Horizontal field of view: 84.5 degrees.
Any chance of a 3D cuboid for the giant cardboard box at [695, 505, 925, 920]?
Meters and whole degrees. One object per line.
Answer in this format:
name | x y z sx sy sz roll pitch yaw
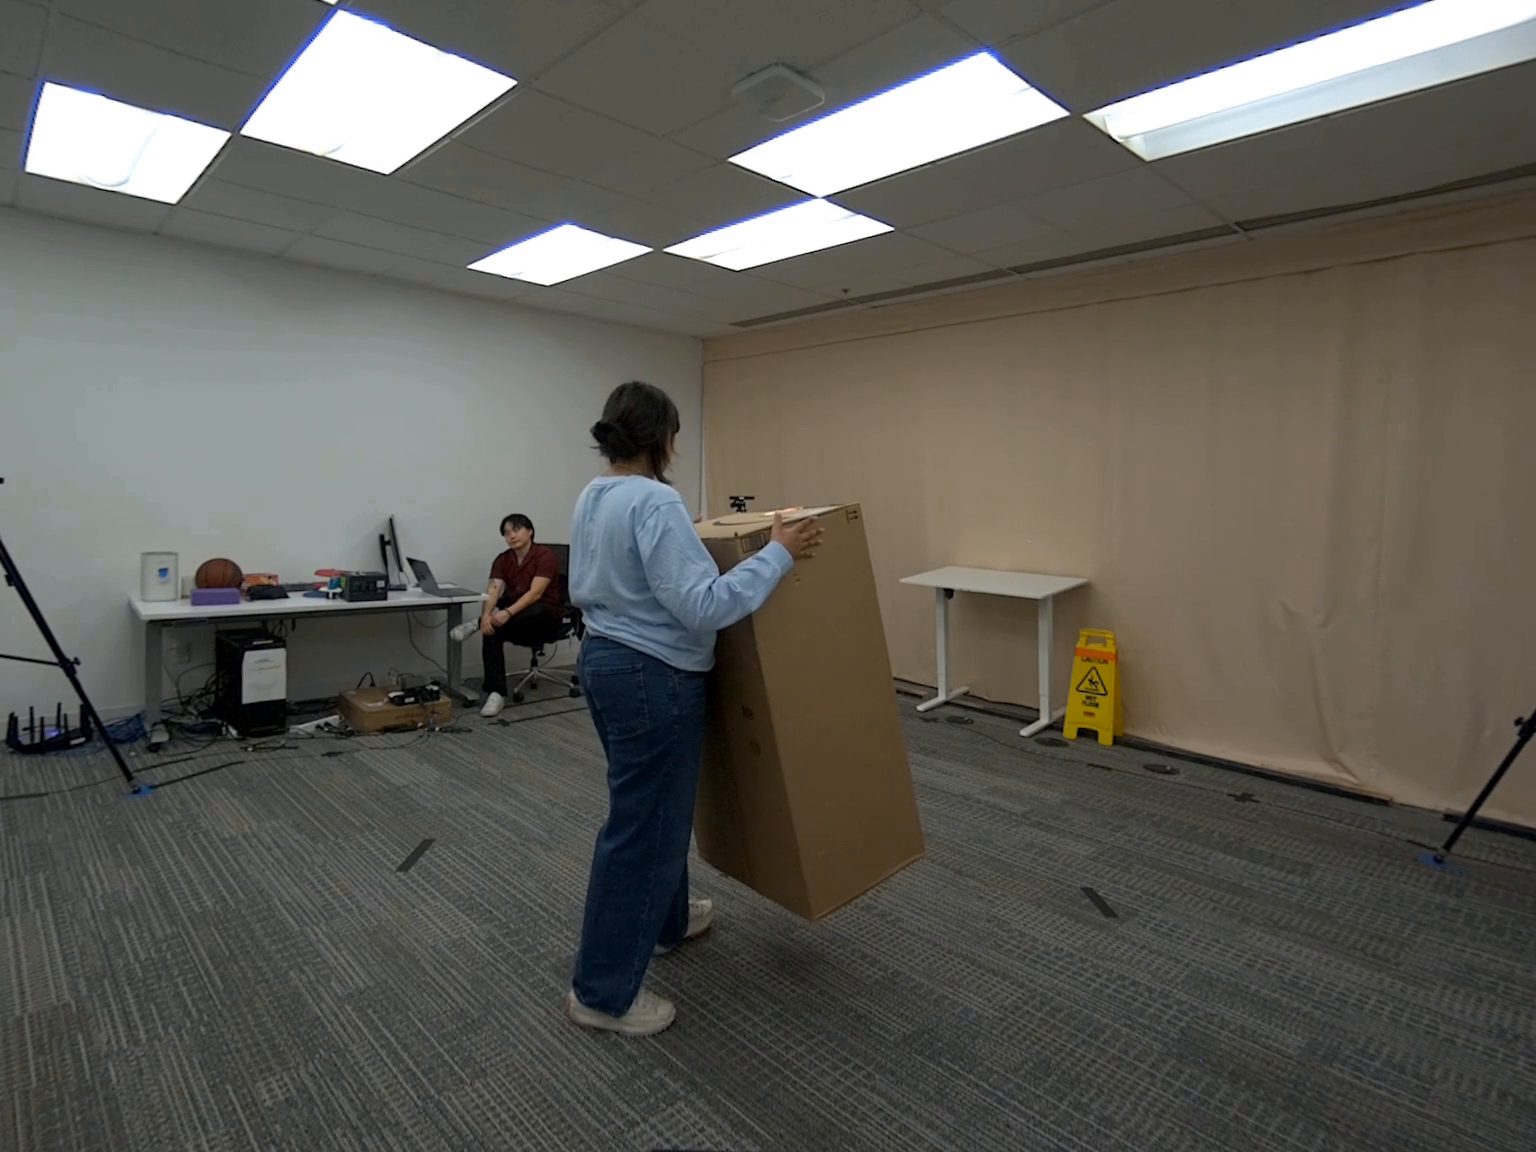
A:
giant cardboard box | 0.025 0.348 2.461 0.419 1.020 0.590 -15 8 -34
